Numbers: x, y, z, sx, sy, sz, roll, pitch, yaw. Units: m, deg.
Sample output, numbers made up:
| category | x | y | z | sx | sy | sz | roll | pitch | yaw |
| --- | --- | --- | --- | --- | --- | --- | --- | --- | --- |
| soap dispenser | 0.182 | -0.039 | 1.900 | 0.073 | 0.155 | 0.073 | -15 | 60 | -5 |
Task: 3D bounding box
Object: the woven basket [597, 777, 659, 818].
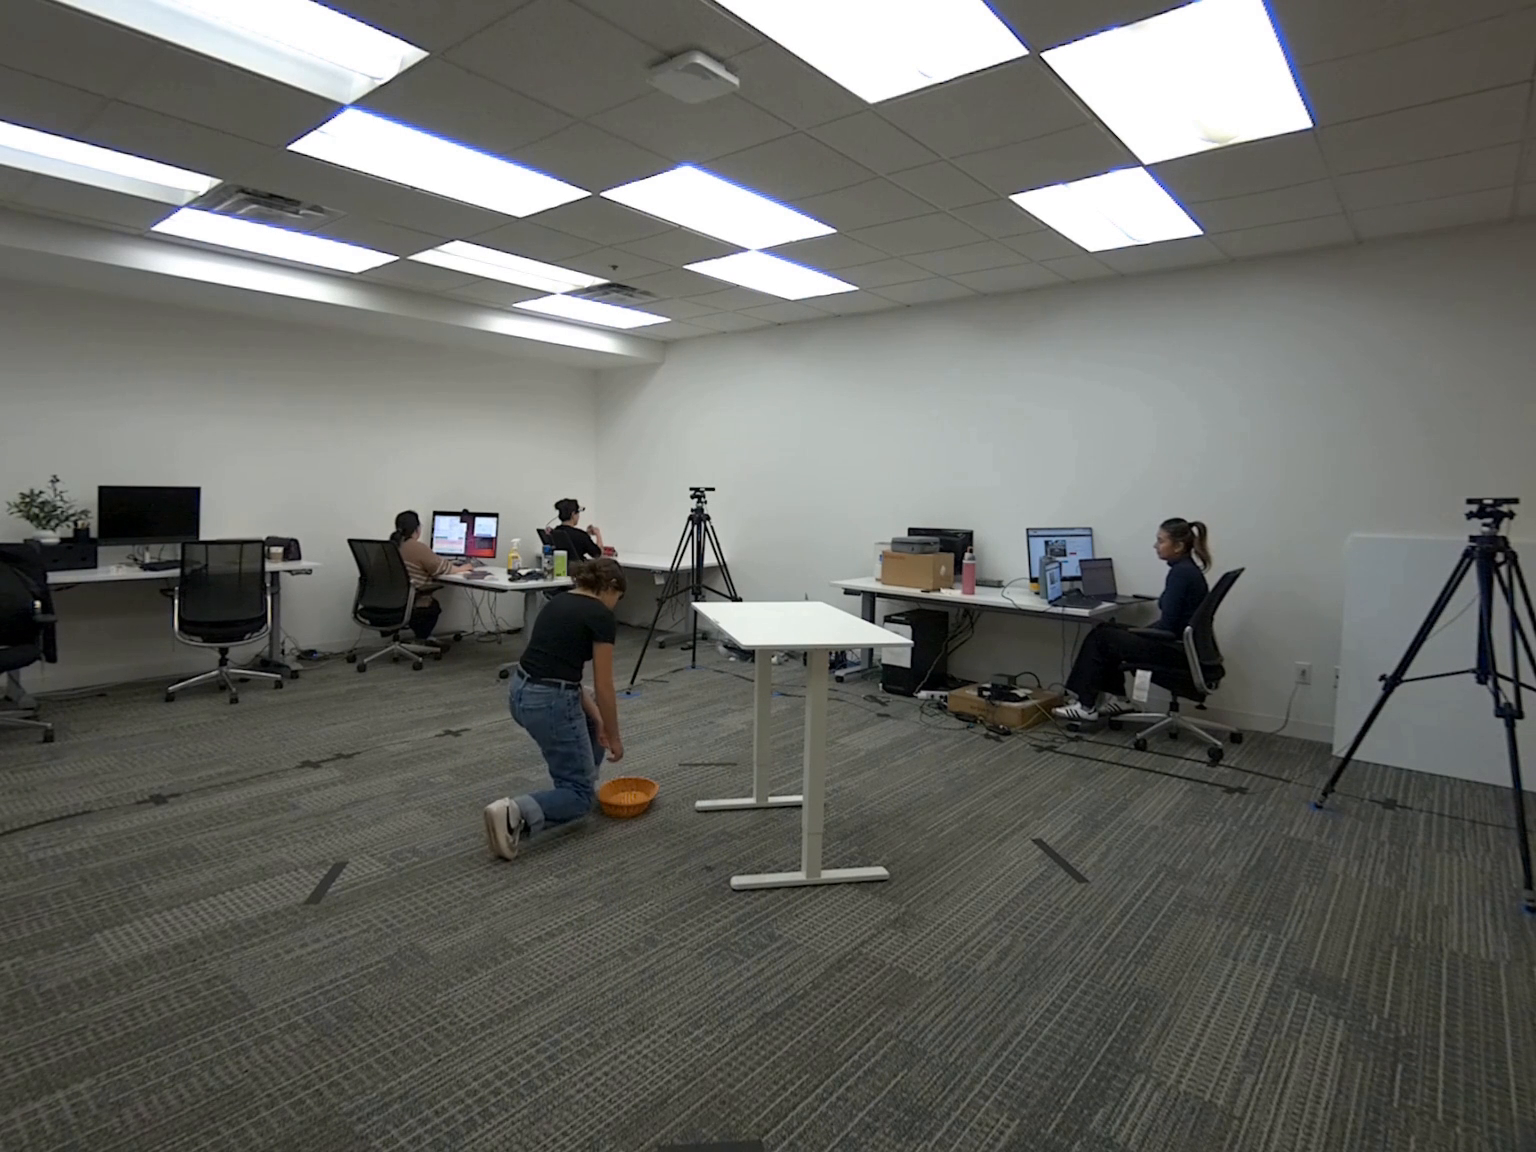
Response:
| category | x | y | z | sx | sy | sz | roll | pitch | yaw |
| --- | --- | --- | --- | --- | --- | --- | --- | --- | --- |
| woven basket | -0.625 | 0.959 | 3.701 | 0.256 | 0.073 | 0.347 | 3 | 6 | 10 |
